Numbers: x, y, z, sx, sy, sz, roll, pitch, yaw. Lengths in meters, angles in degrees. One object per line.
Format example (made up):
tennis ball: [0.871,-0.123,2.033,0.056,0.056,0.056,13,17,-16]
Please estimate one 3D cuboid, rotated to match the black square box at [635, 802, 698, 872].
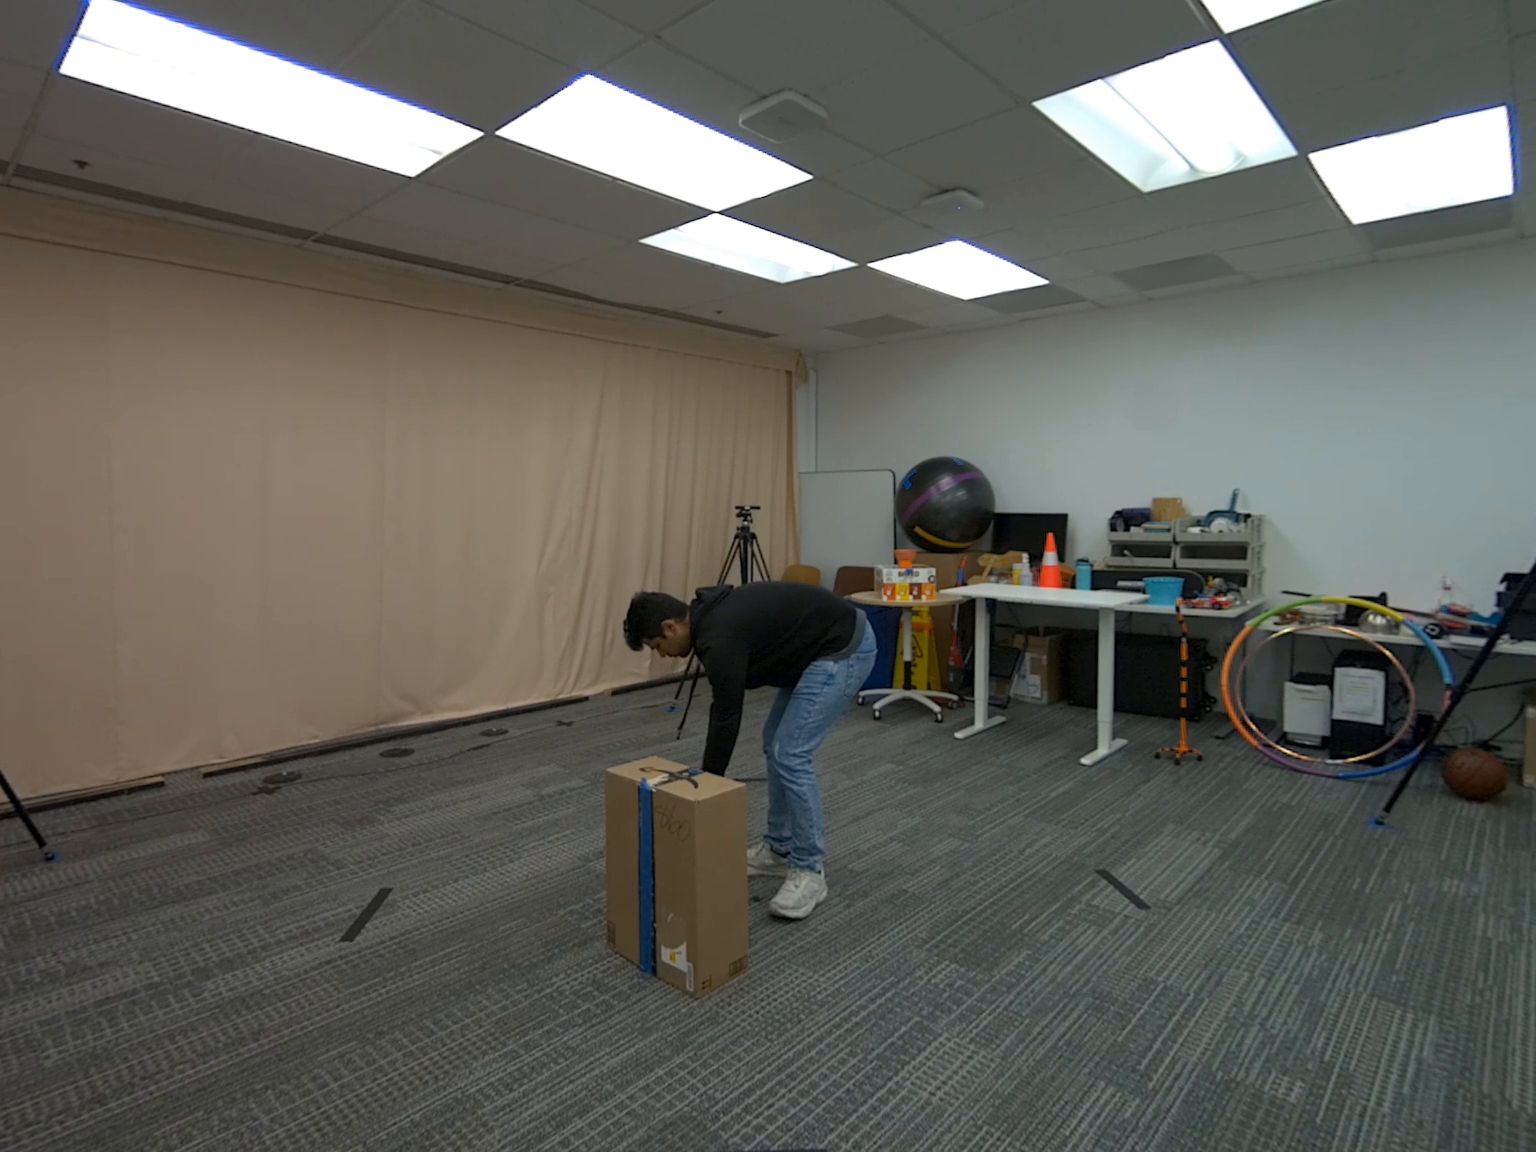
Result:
black square box: [-0.375,0.964,3.150,0.216,0.155,0.229,-3,5,-3]
